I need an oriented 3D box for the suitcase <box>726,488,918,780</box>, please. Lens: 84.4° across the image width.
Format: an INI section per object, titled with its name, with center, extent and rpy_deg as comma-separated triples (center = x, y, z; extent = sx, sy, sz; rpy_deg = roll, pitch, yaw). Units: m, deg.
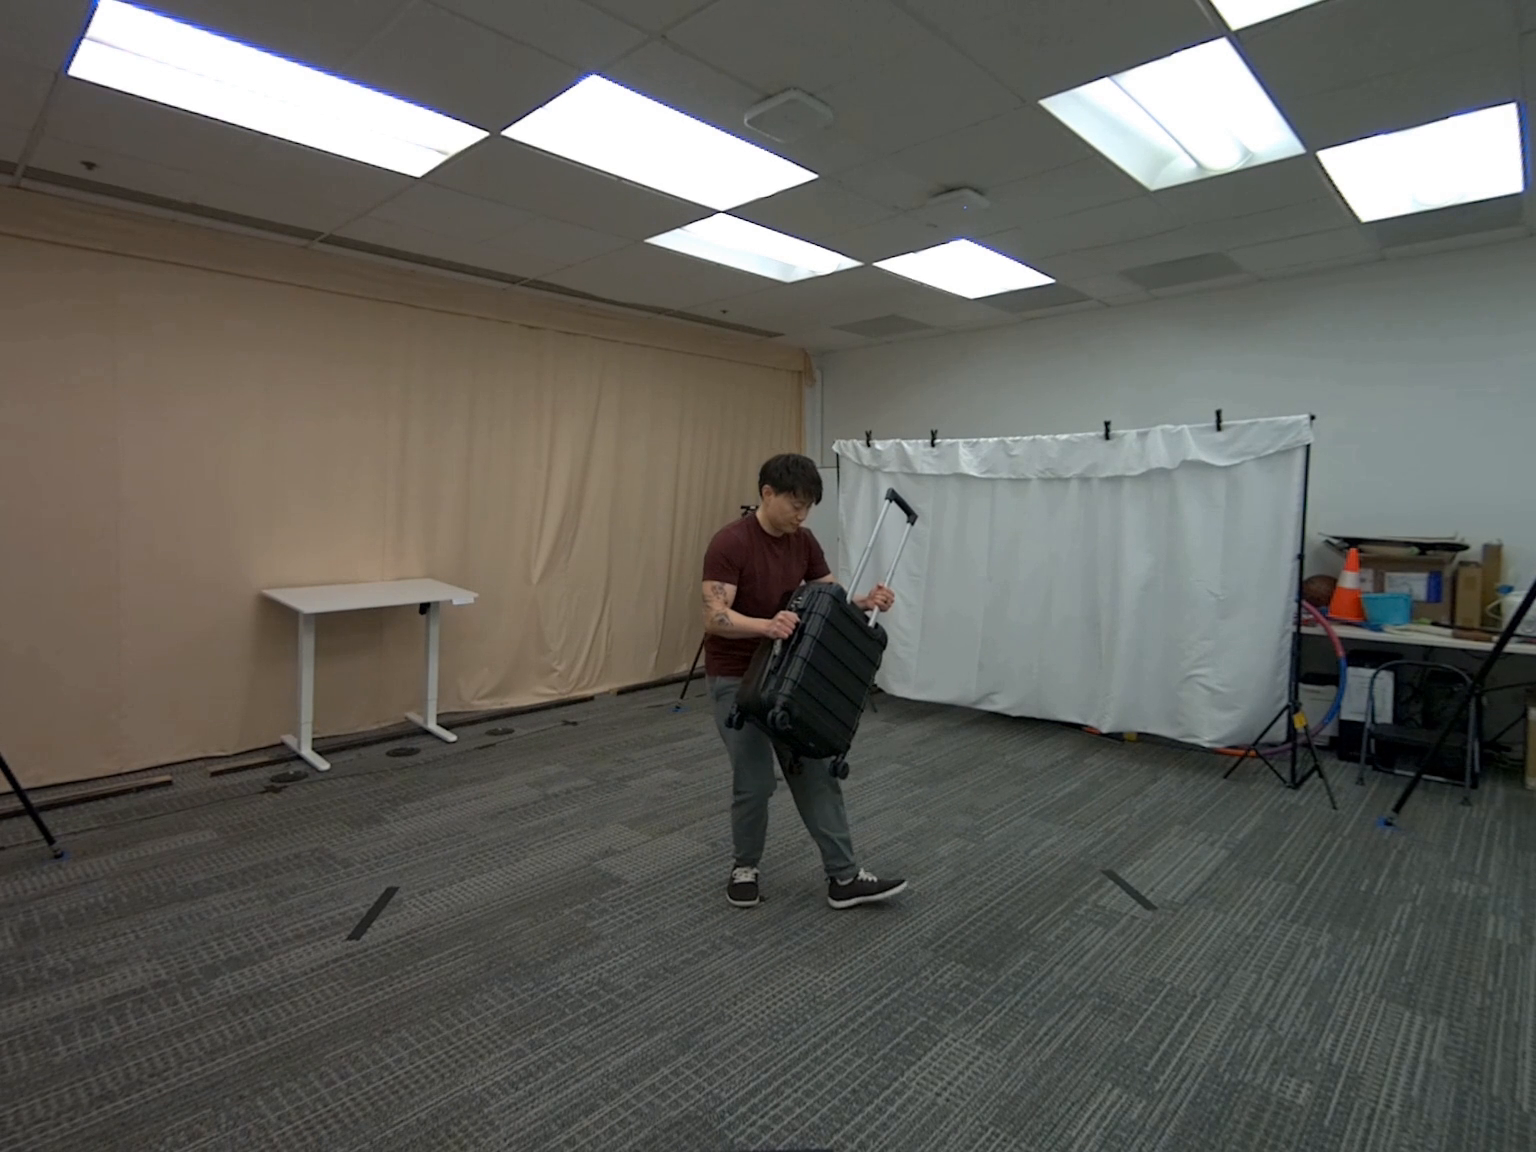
[suitcase]
center = 0.237, 0.148, 2.819
extent = 0.373, 0.980, 0.264
rpy_deg = 41, -32, -25
